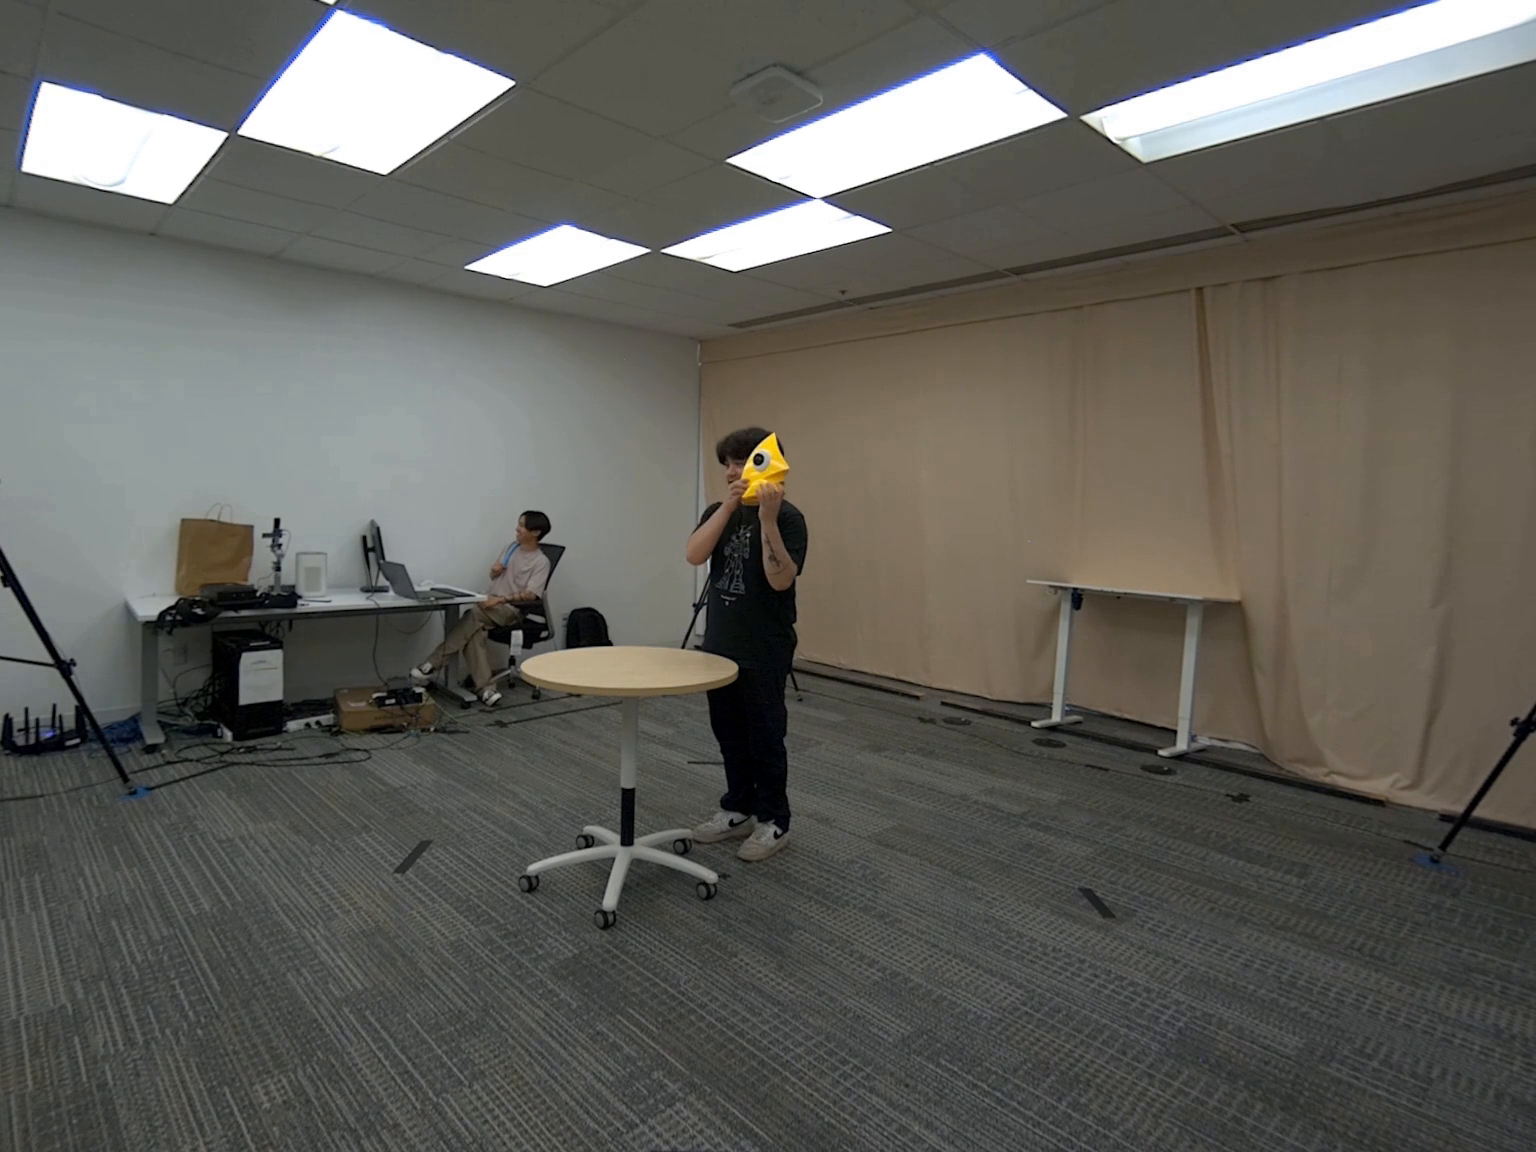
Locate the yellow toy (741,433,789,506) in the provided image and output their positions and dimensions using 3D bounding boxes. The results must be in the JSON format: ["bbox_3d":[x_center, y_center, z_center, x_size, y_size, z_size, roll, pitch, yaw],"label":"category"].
[{"bbox_3d":[-0.030,-0.406,3.102,0.193,0.231,0.204,-8,-2,0],"label":"yellow toy"}]
